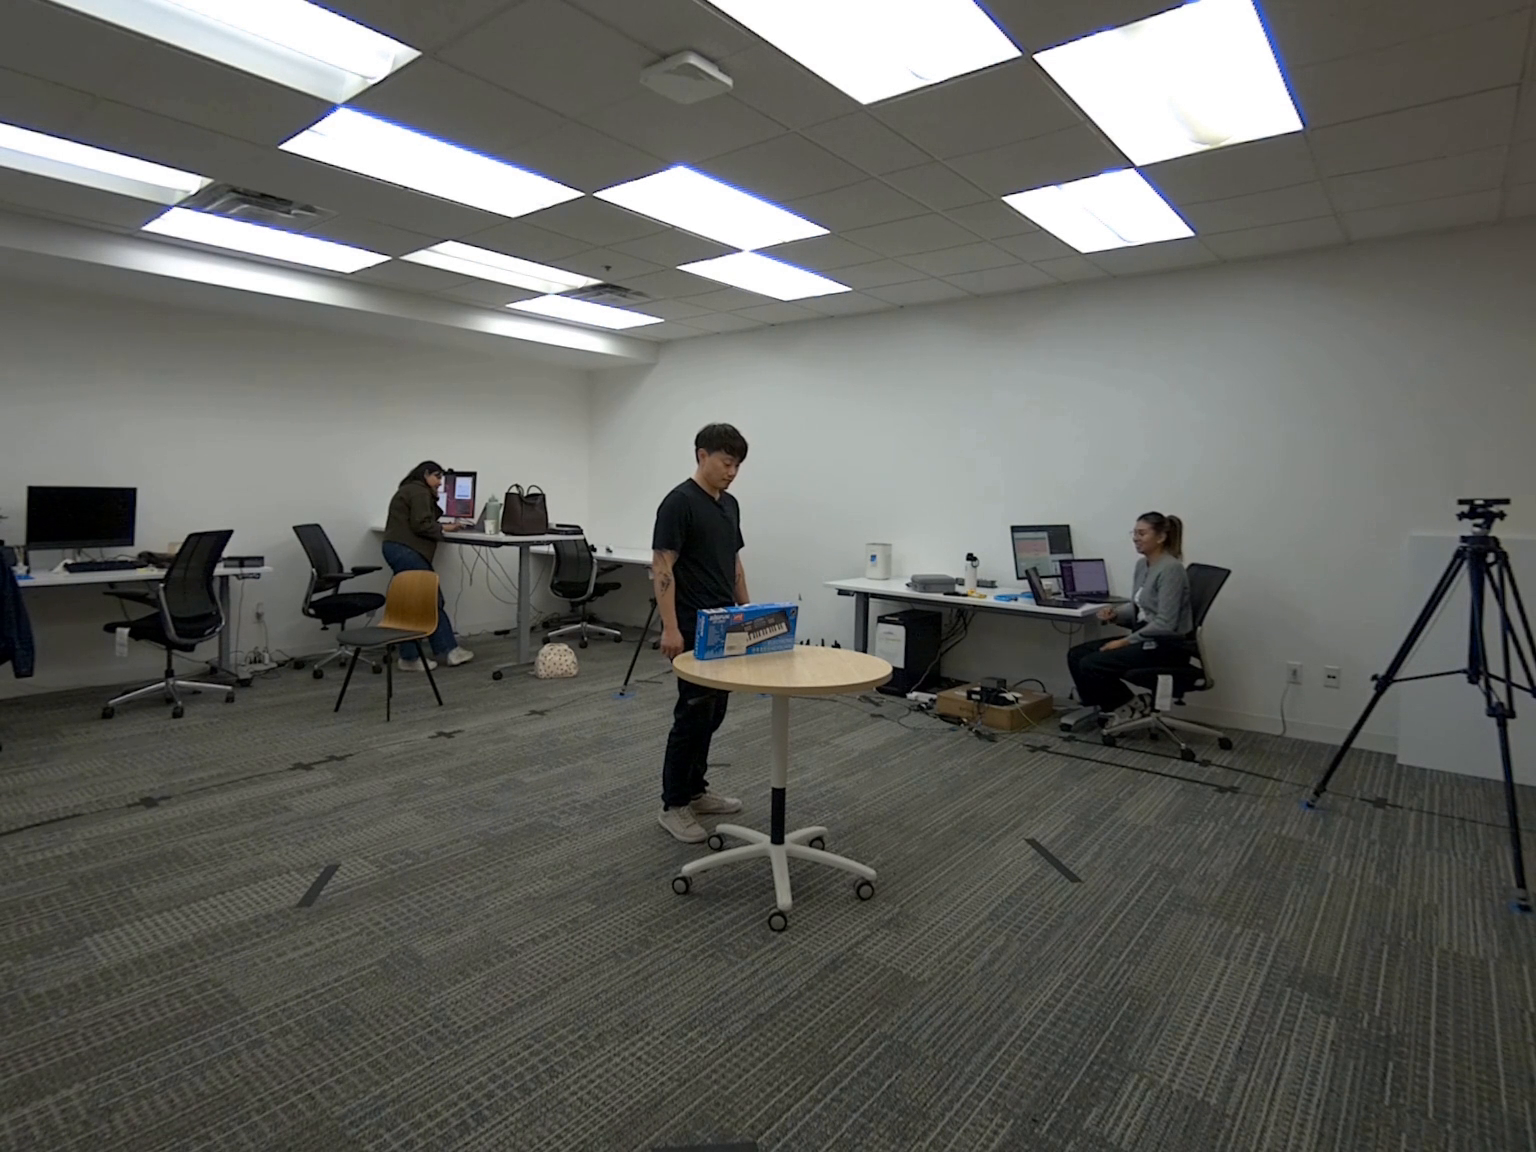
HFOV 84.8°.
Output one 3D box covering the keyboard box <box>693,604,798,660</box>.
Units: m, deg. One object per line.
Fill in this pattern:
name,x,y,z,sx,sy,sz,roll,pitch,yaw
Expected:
keyboard box,-0.085,0.198,3.144,0.424,0.174,0.061,-3,12,-38
